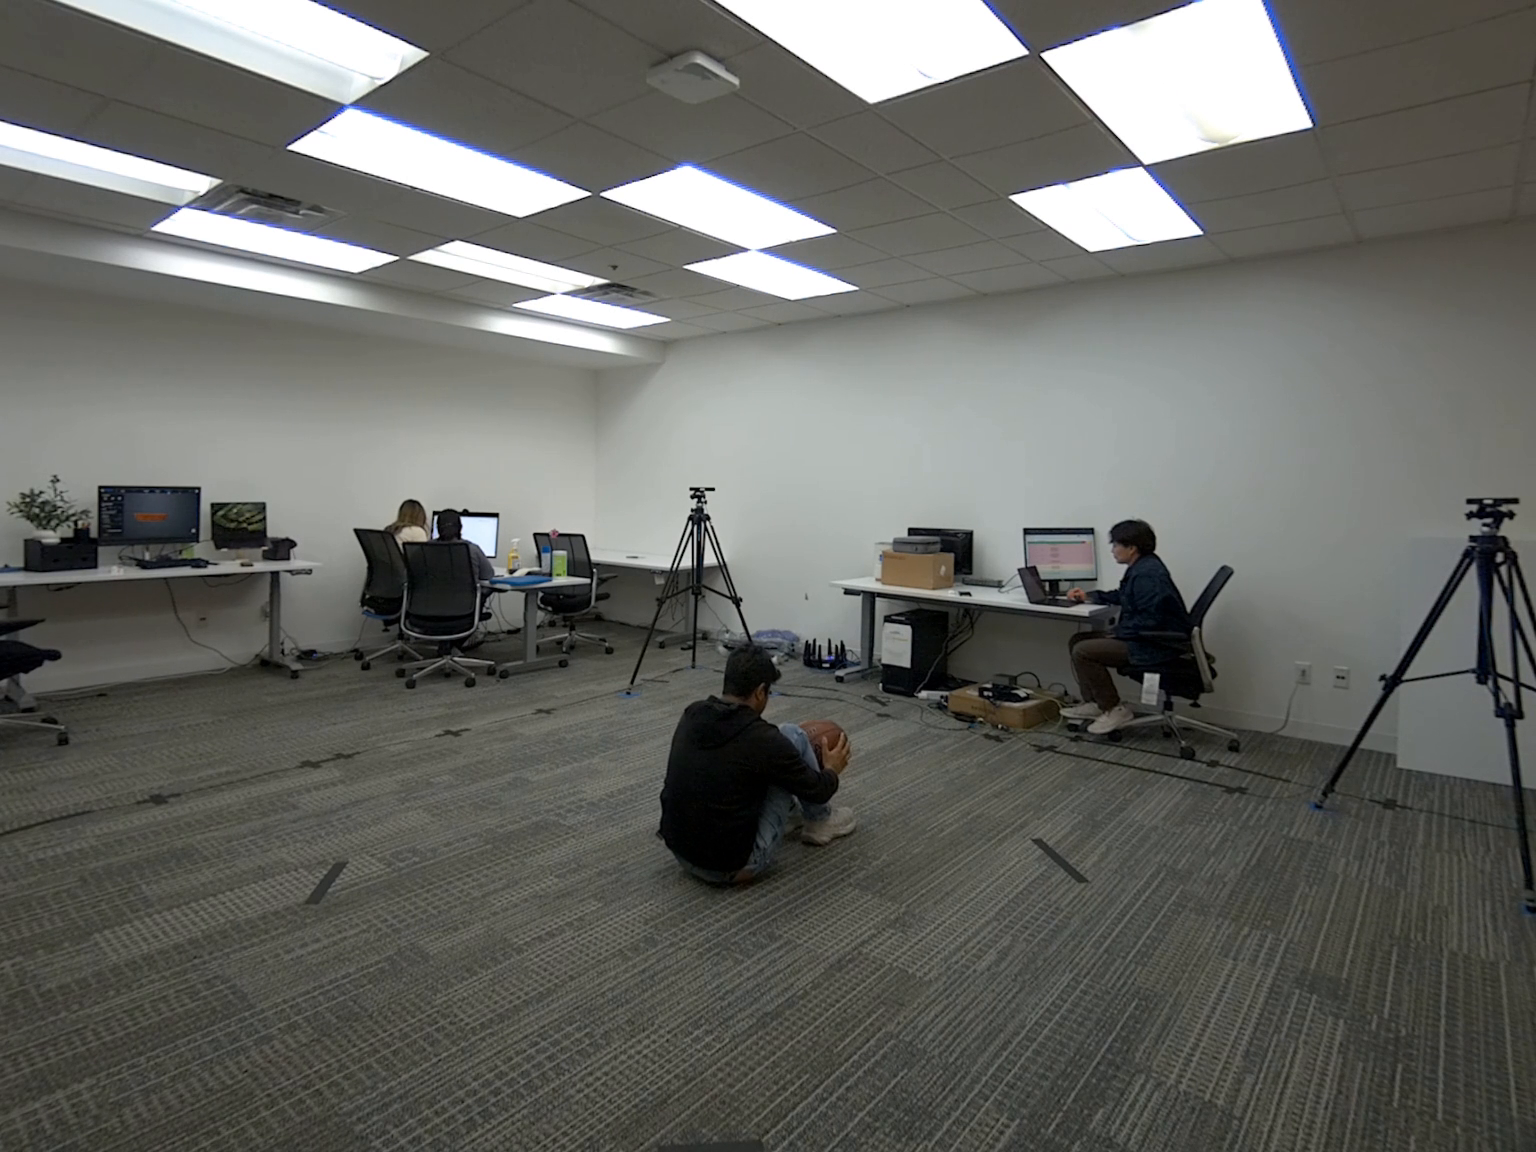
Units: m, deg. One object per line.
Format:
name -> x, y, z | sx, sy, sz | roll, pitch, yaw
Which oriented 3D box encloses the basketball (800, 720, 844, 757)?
basketball -> 0.204, 0.703, 3.517 | 0.235, 0.235, 0.237 | 1, 4, -2
